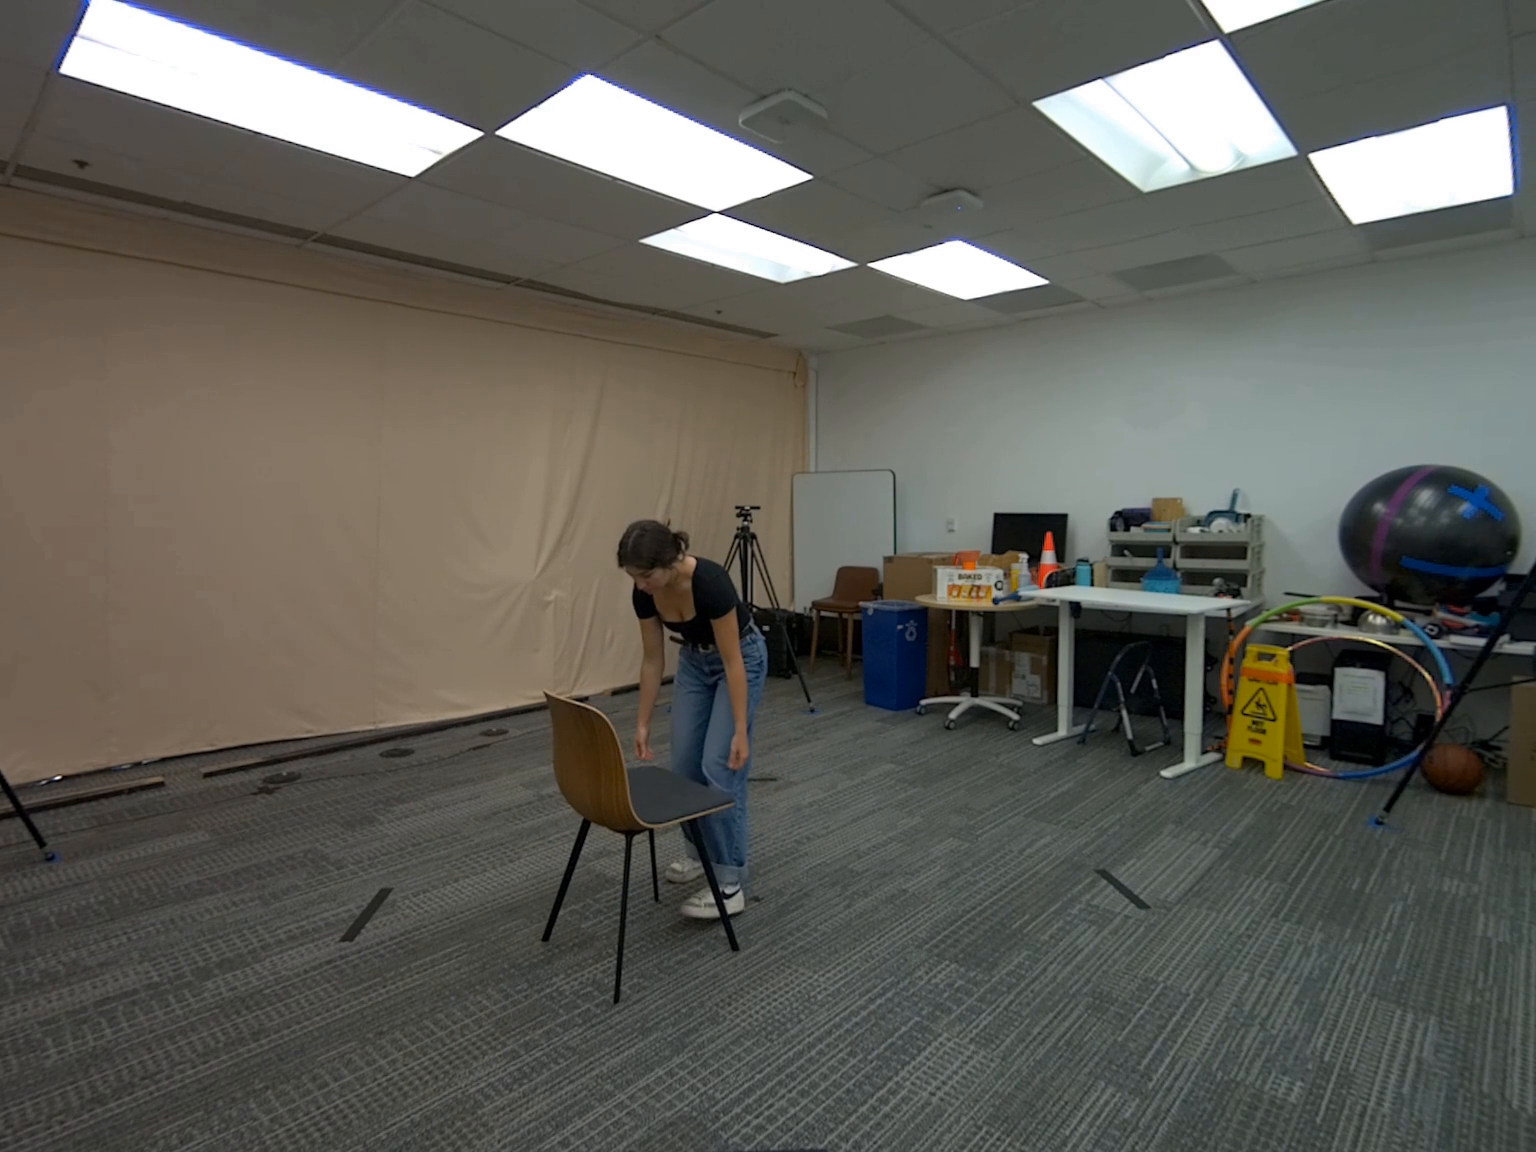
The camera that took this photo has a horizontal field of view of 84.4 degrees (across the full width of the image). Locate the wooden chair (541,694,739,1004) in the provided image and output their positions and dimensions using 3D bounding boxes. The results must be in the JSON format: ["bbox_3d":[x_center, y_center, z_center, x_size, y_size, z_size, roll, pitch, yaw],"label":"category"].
[{"bbox_3d":[-0.404,0.743,2.652,0.508,0.874,0.493,-8,7,-40],"label":"wooden chair"}]
